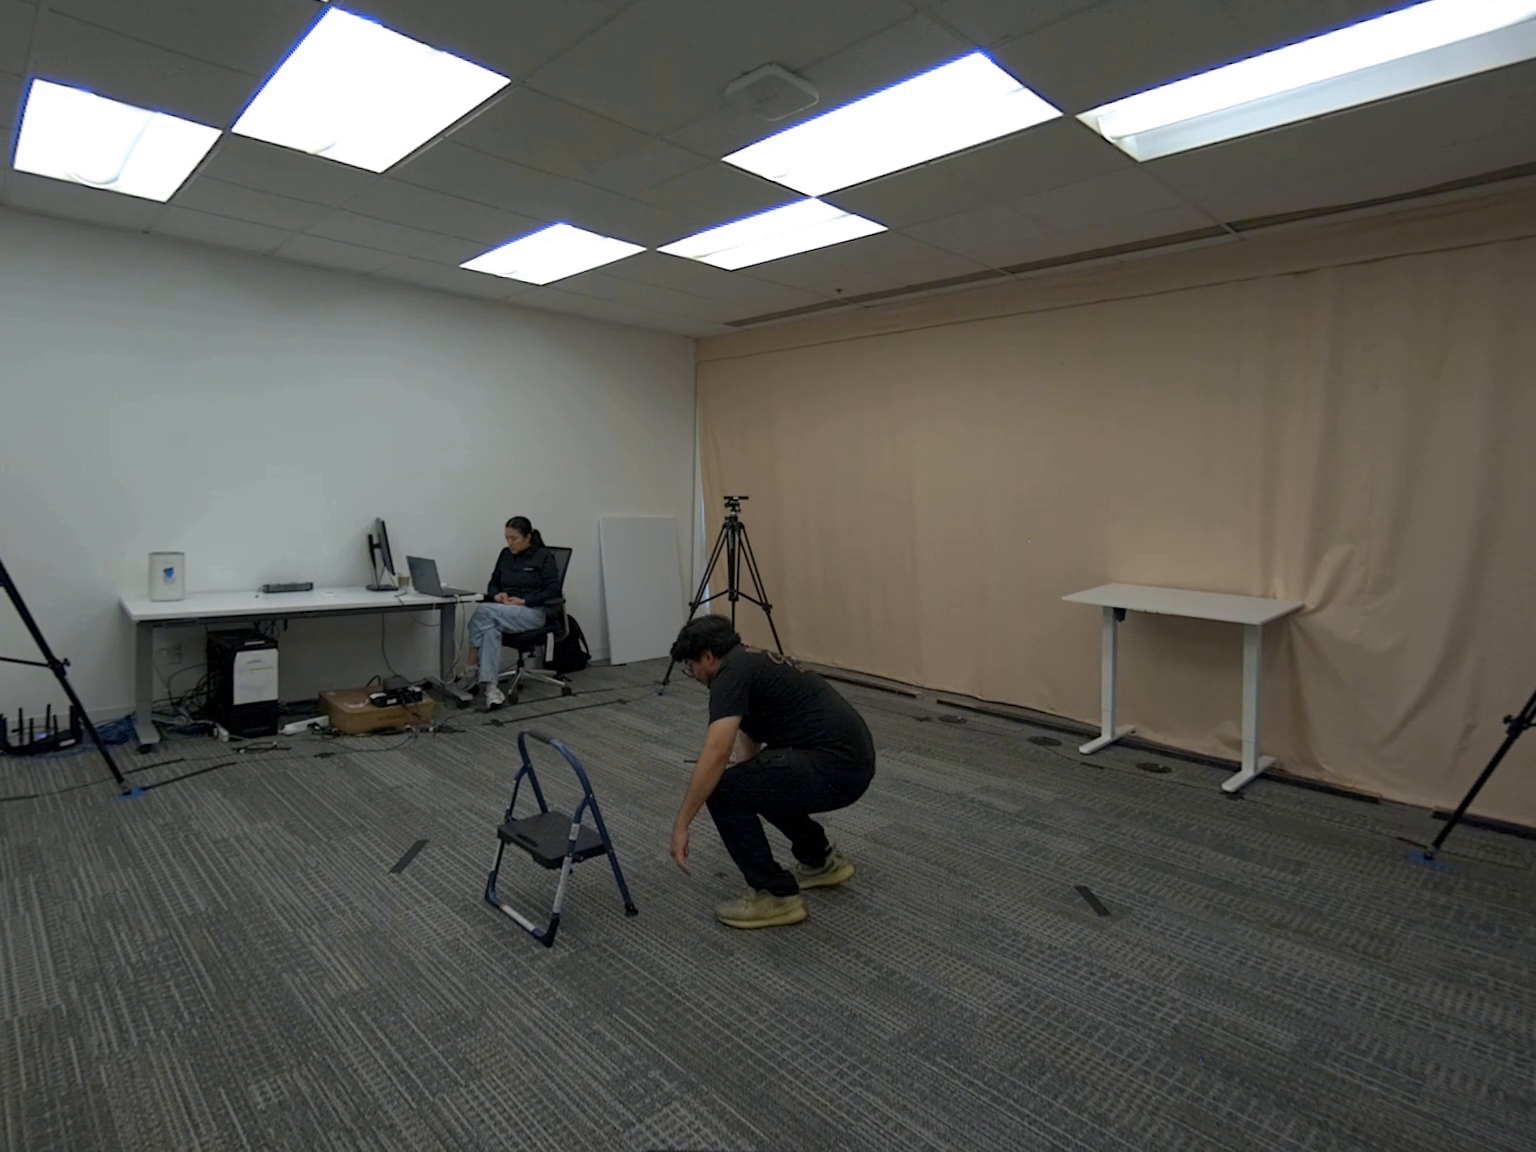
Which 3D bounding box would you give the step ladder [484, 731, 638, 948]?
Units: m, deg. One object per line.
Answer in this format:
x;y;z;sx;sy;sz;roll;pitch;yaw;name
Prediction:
-0.697;0.812;2.827;0.441;0.605;0.341;4;4;45;step ladder
